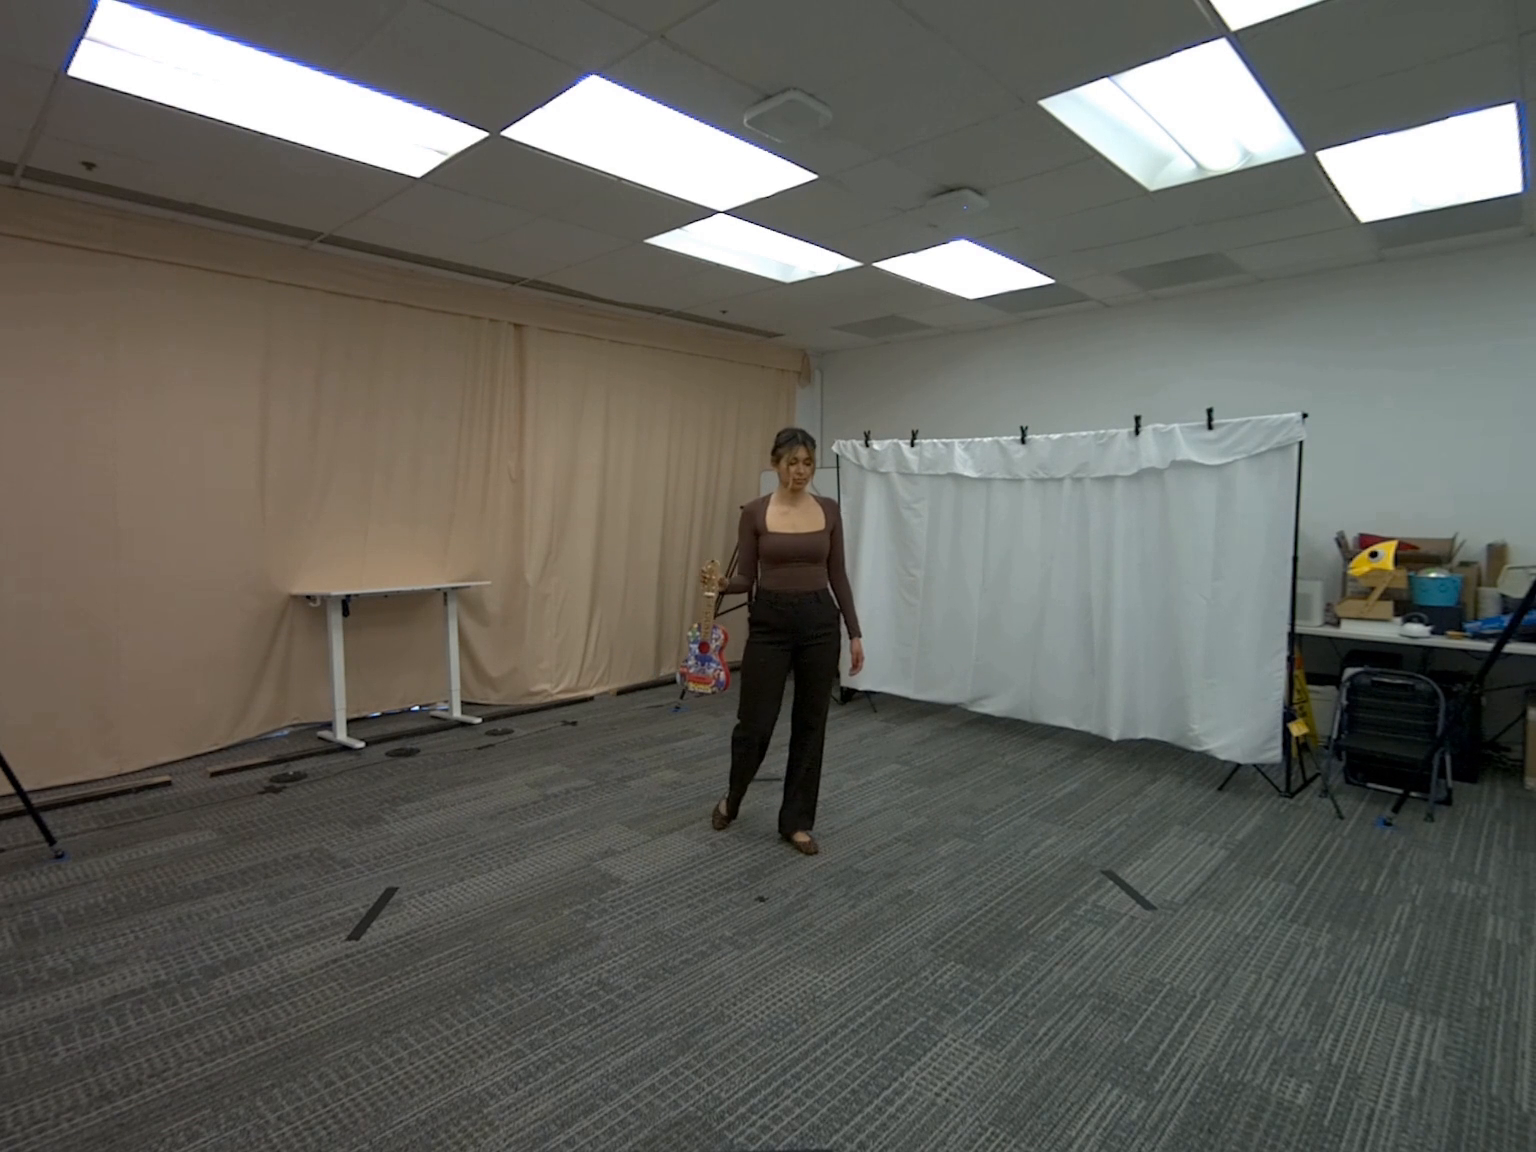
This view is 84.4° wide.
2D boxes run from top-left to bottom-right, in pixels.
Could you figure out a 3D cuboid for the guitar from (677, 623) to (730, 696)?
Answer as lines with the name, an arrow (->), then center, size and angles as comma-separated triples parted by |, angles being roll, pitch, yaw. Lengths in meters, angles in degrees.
guitar -> -0.203, 0.197, 3.141 | 0.197, 0.498, 0.069 | 13, 0, 16
